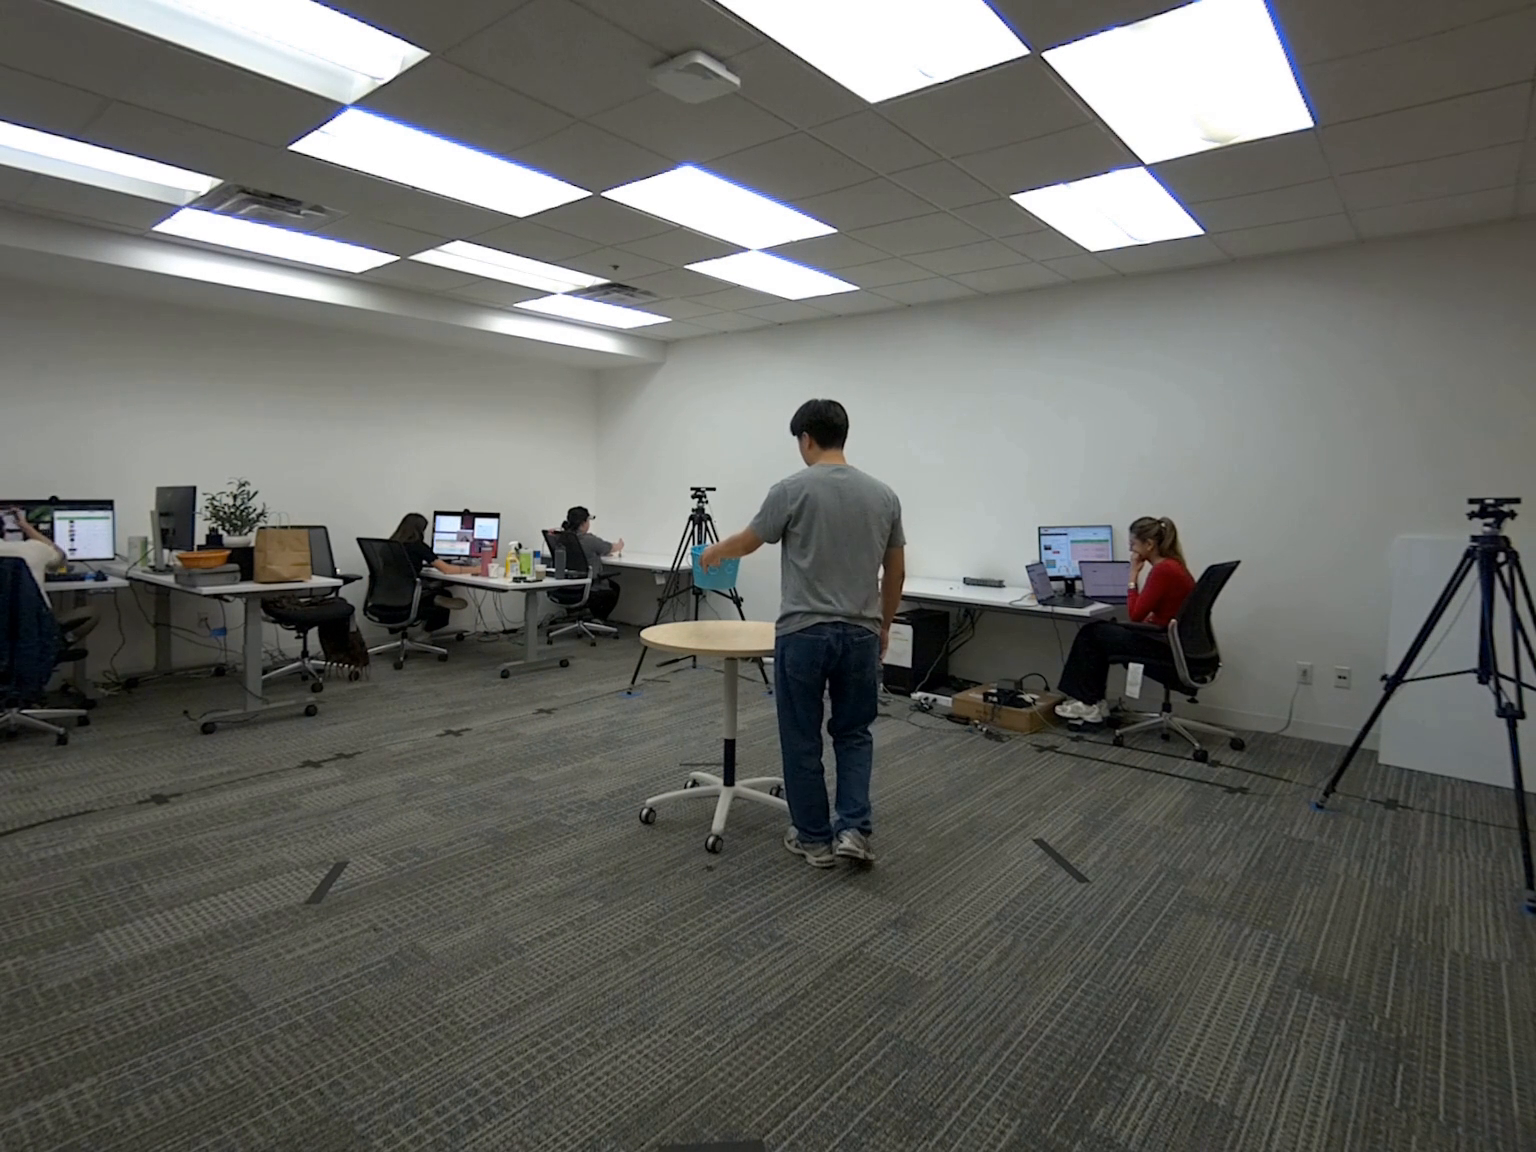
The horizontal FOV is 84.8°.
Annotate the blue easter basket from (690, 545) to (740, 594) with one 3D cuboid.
[{"bbox_3d":[-0.232,-0.040,3.680,0.243,0.154,0.246,3,12,-2],"label":"blue easter basket"}]
